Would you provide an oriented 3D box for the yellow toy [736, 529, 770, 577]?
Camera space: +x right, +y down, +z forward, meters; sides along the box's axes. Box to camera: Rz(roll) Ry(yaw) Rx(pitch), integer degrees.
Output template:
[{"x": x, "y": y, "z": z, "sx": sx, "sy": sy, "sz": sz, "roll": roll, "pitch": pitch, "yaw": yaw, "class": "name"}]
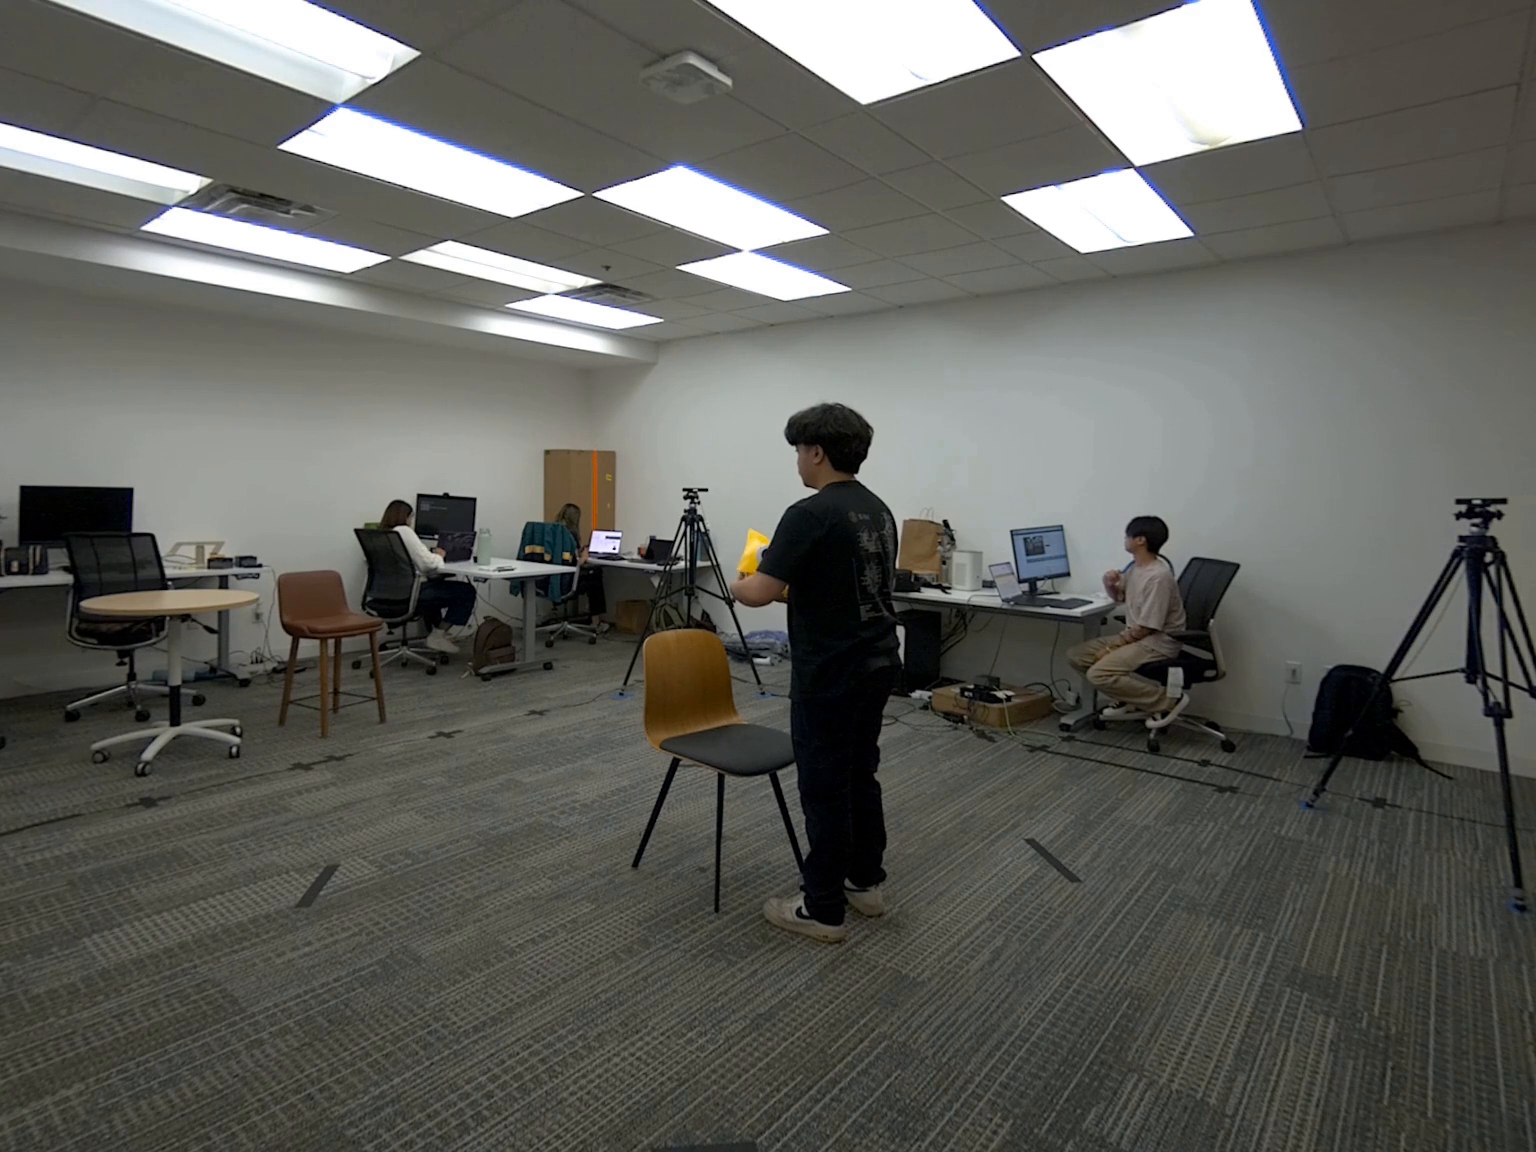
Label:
[{"x": -0.014, "y": -0.054, "z": 2.928, "sx": 0.195, "sy": 0.232, "sz": 0.201, "roll": -2, "pitch": -4, "yaw": 11, "class": "yellow toy"}]
